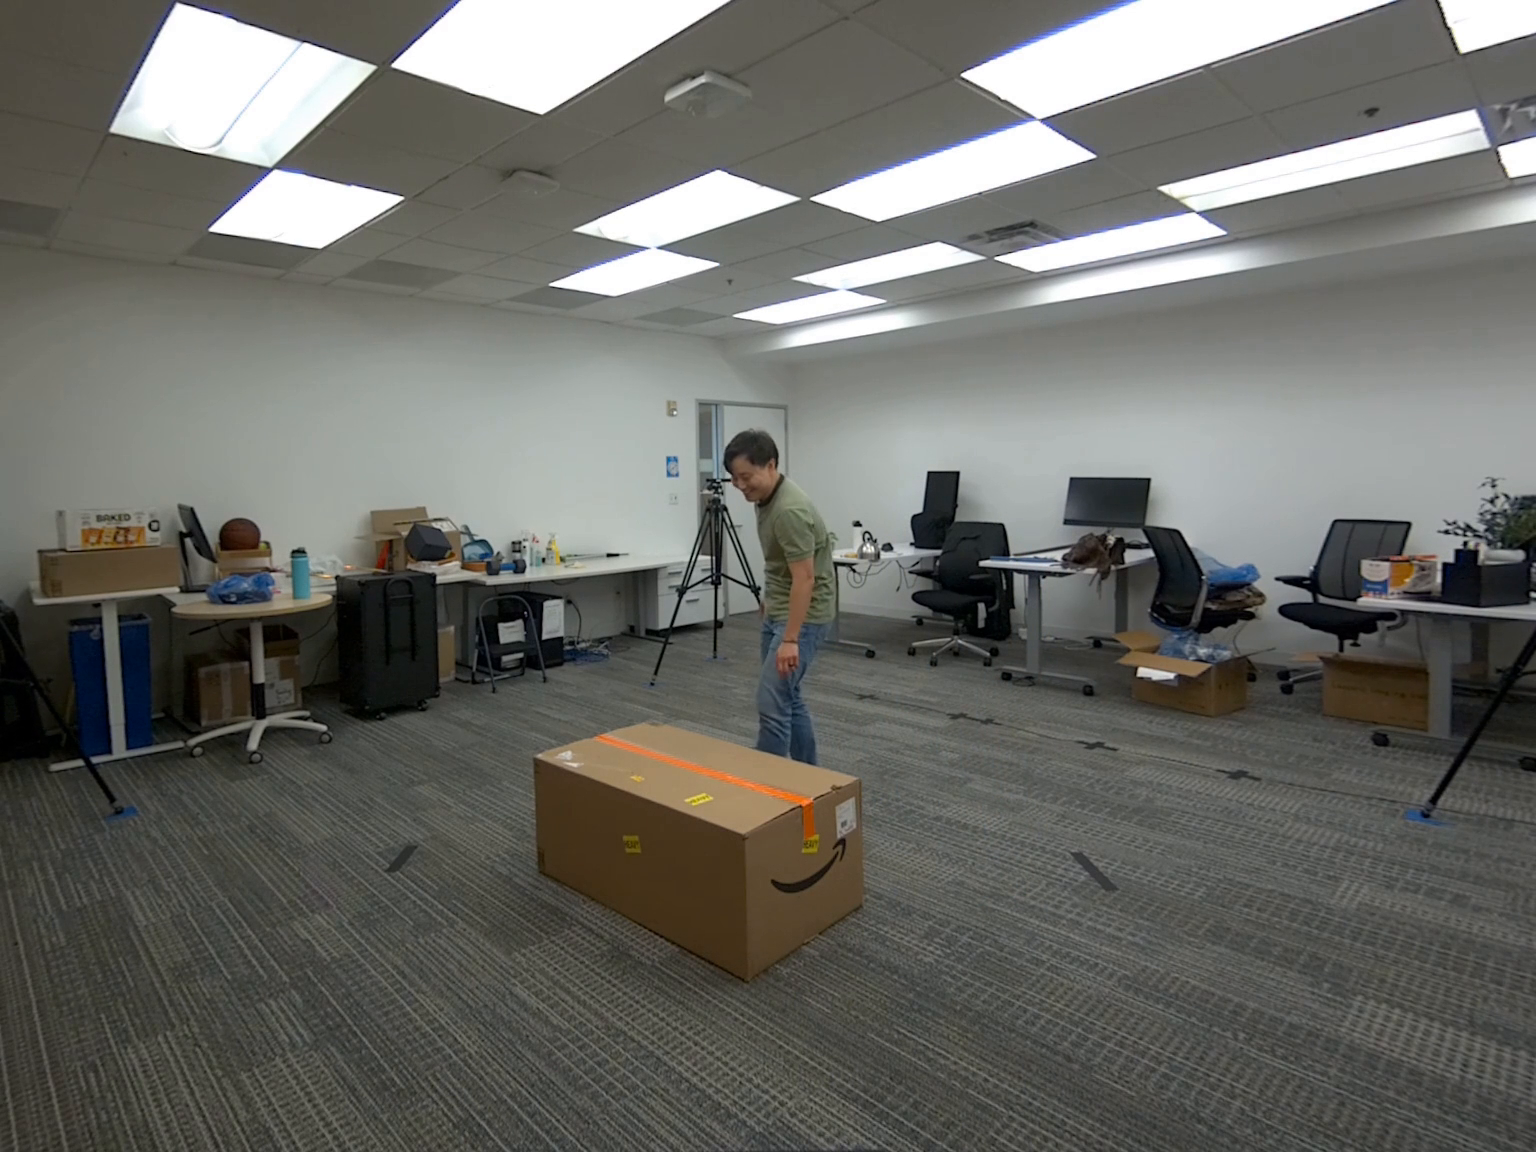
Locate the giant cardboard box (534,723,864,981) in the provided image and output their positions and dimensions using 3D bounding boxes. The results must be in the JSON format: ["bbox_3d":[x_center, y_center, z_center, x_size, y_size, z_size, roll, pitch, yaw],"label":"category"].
[{"bbox_3d":[-0.263,0.855,2.918,1.057,0.424,0.563,5,9,42],"label":"giant cardboard box"}]
